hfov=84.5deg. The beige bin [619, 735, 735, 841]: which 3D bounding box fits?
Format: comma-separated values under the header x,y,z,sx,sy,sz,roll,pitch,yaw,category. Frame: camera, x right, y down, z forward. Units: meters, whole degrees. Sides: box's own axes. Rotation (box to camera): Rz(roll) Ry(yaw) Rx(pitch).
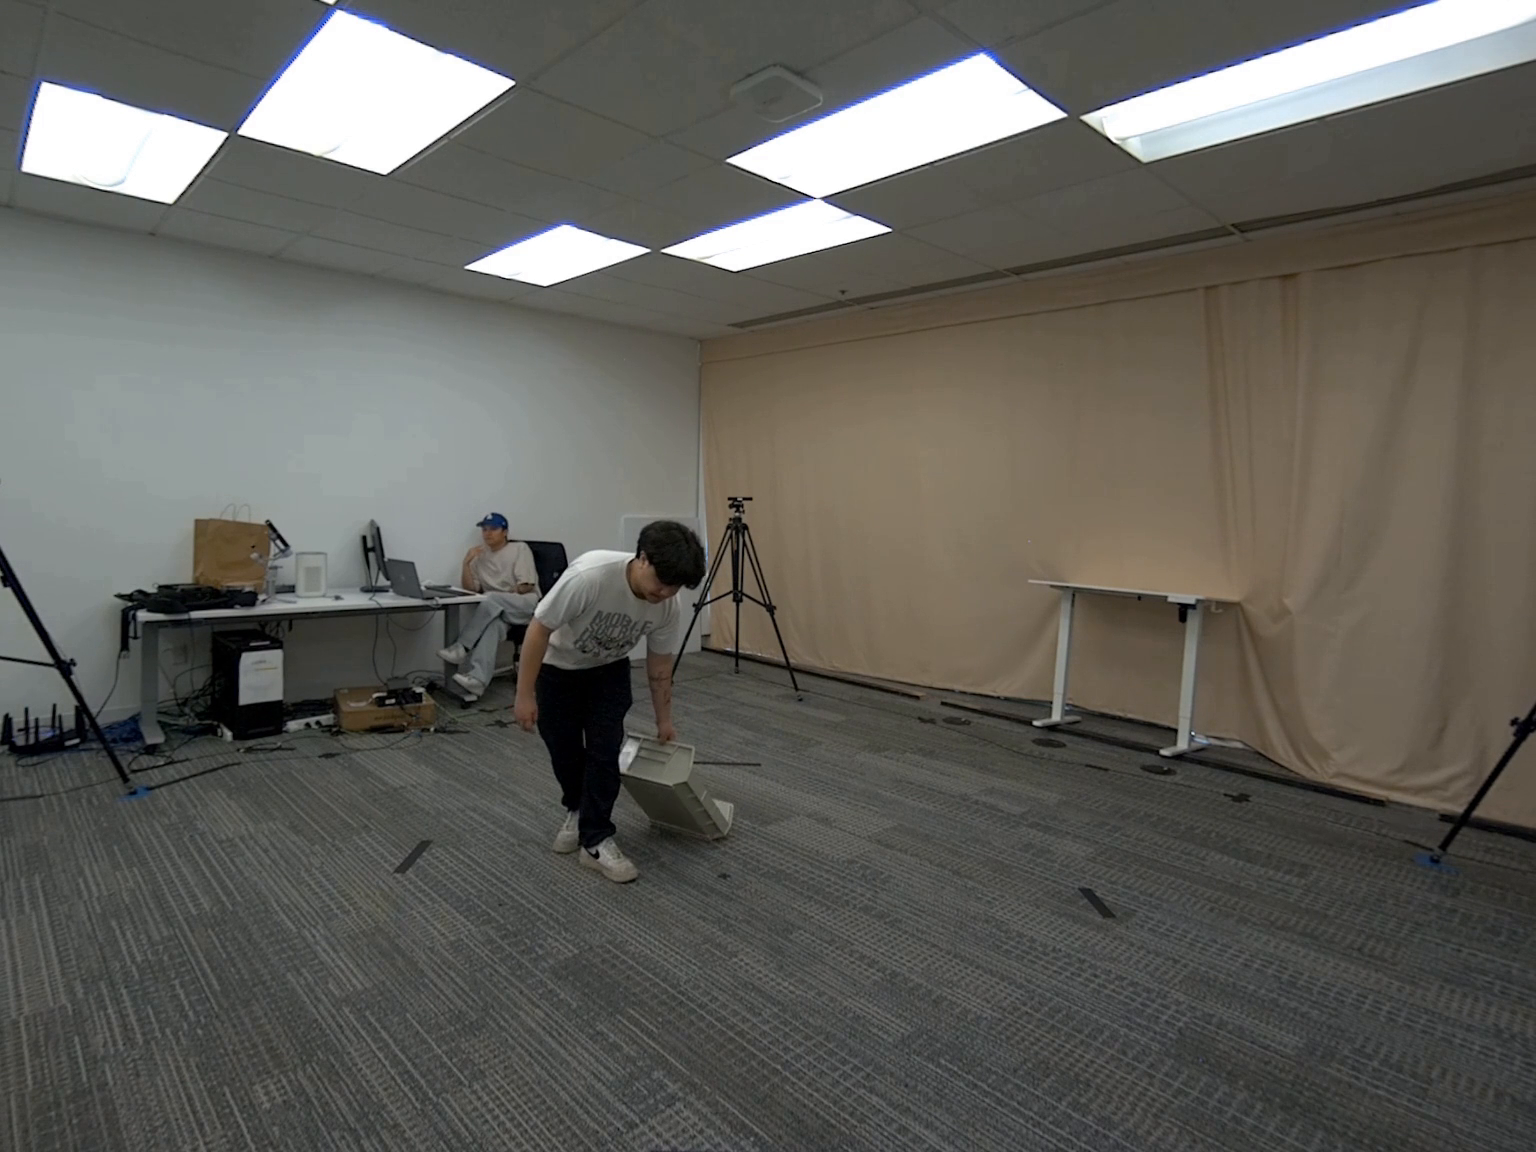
x,y,z,sx,sy,sz,roll,pitch,yaw,category
-0.385,0.862,3.424,0.386,0.410,0.190,3,48,31,beige bin
